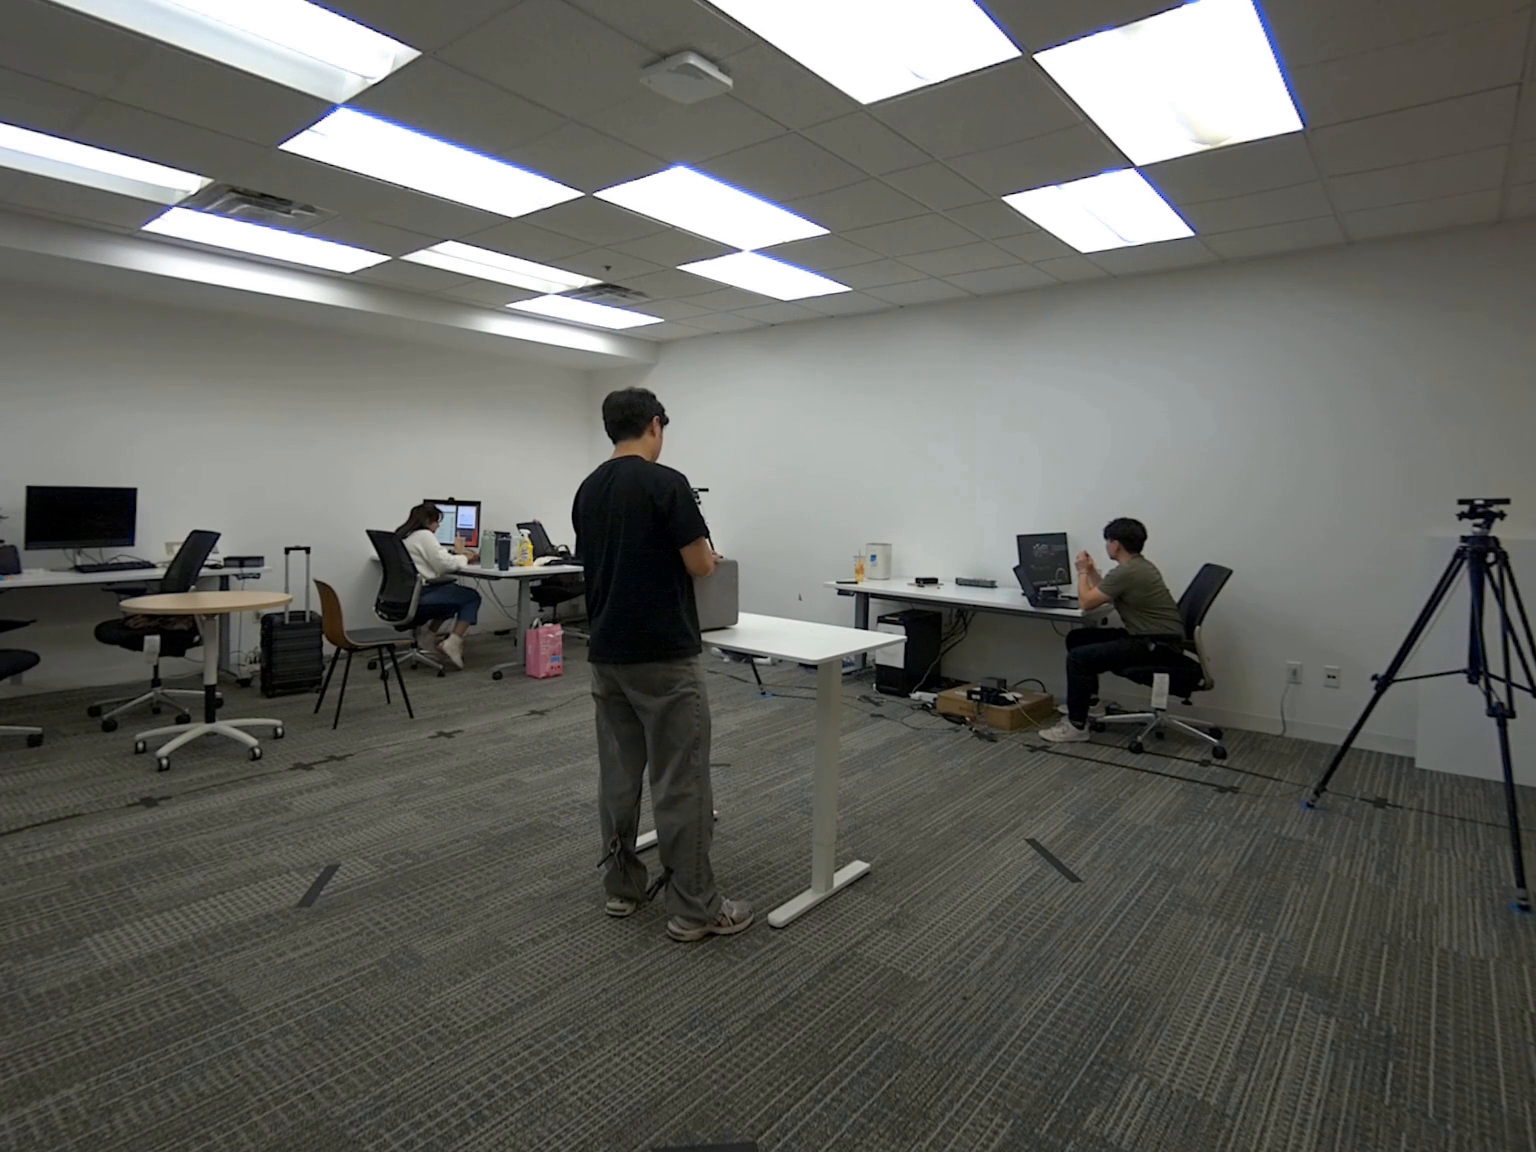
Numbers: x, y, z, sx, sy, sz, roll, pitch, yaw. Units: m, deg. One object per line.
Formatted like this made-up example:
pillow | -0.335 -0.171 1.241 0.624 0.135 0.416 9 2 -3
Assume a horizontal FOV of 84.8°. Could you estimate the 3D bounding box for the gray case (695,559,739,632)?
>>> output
gray case | -0.227 0.056 3.064 0.249 0.261 0.107 -2 1 -44
